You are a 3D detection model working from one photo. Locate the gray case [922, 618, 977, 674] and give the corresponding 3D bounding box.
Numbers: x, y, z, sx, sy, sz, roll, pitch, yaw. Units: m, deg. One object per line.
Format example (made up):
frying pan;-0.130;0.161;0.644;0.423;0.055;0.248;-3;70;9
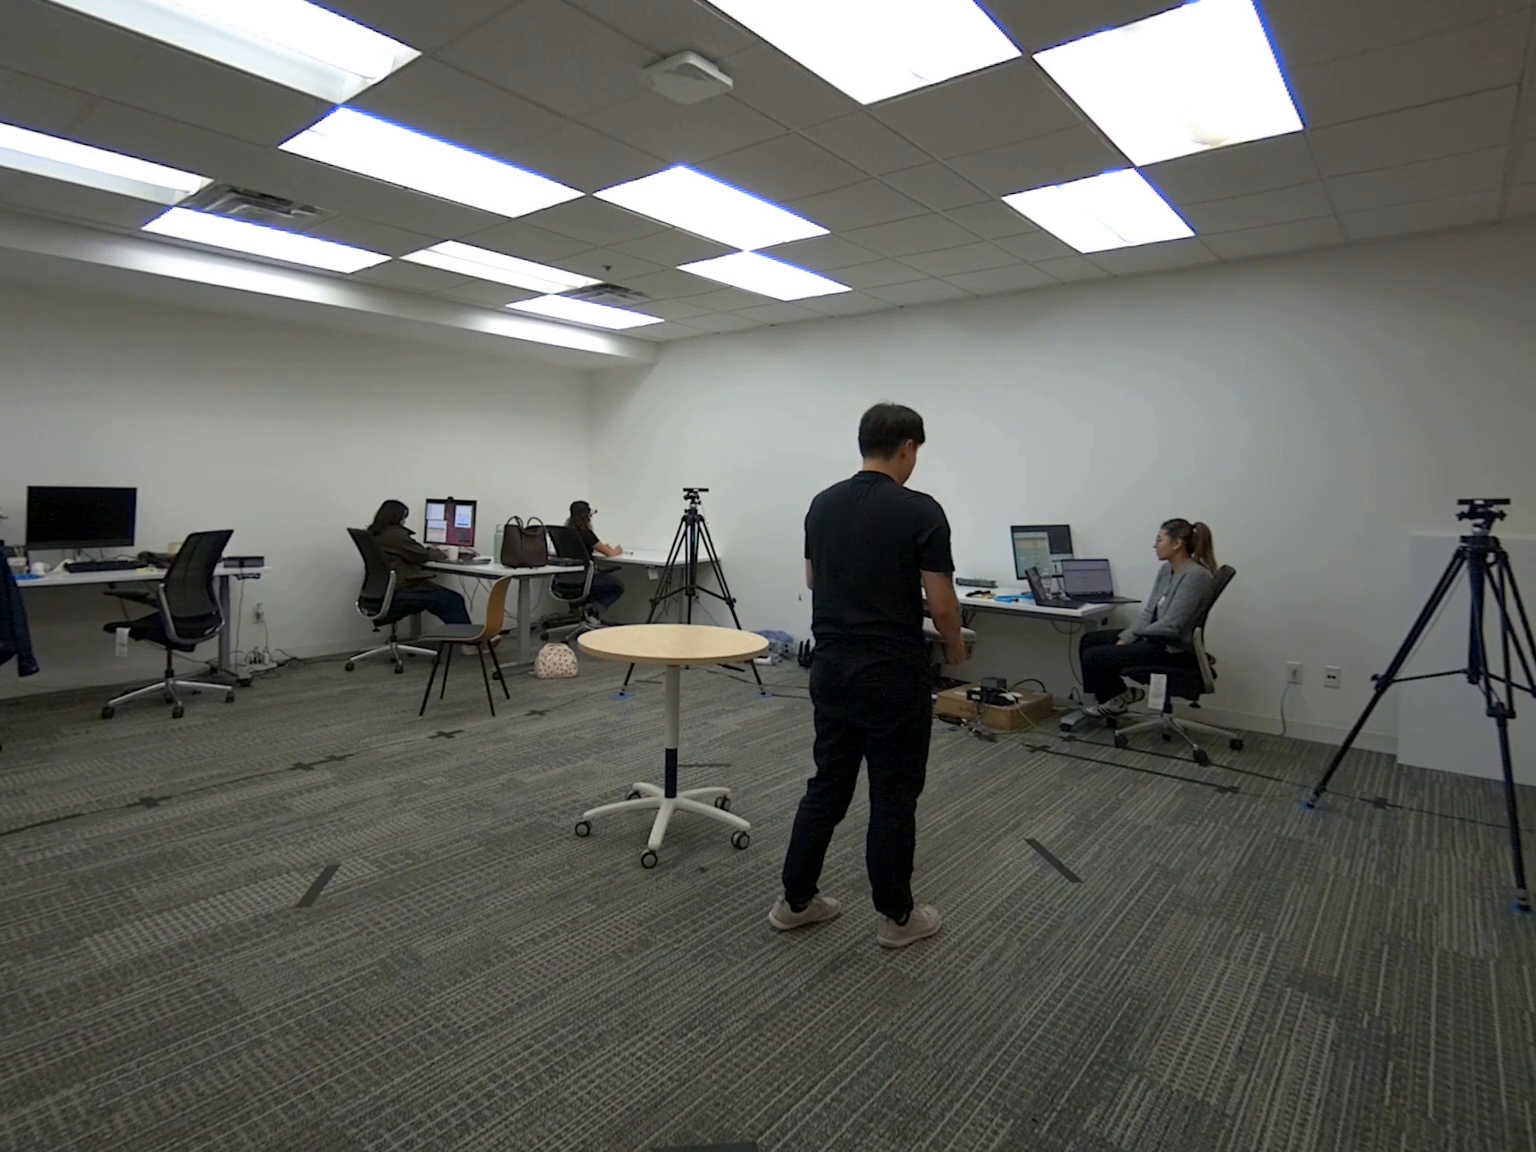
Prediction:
gray case;0.530;0.210;2.856;0.266;0.104;0.252;11;7;37
